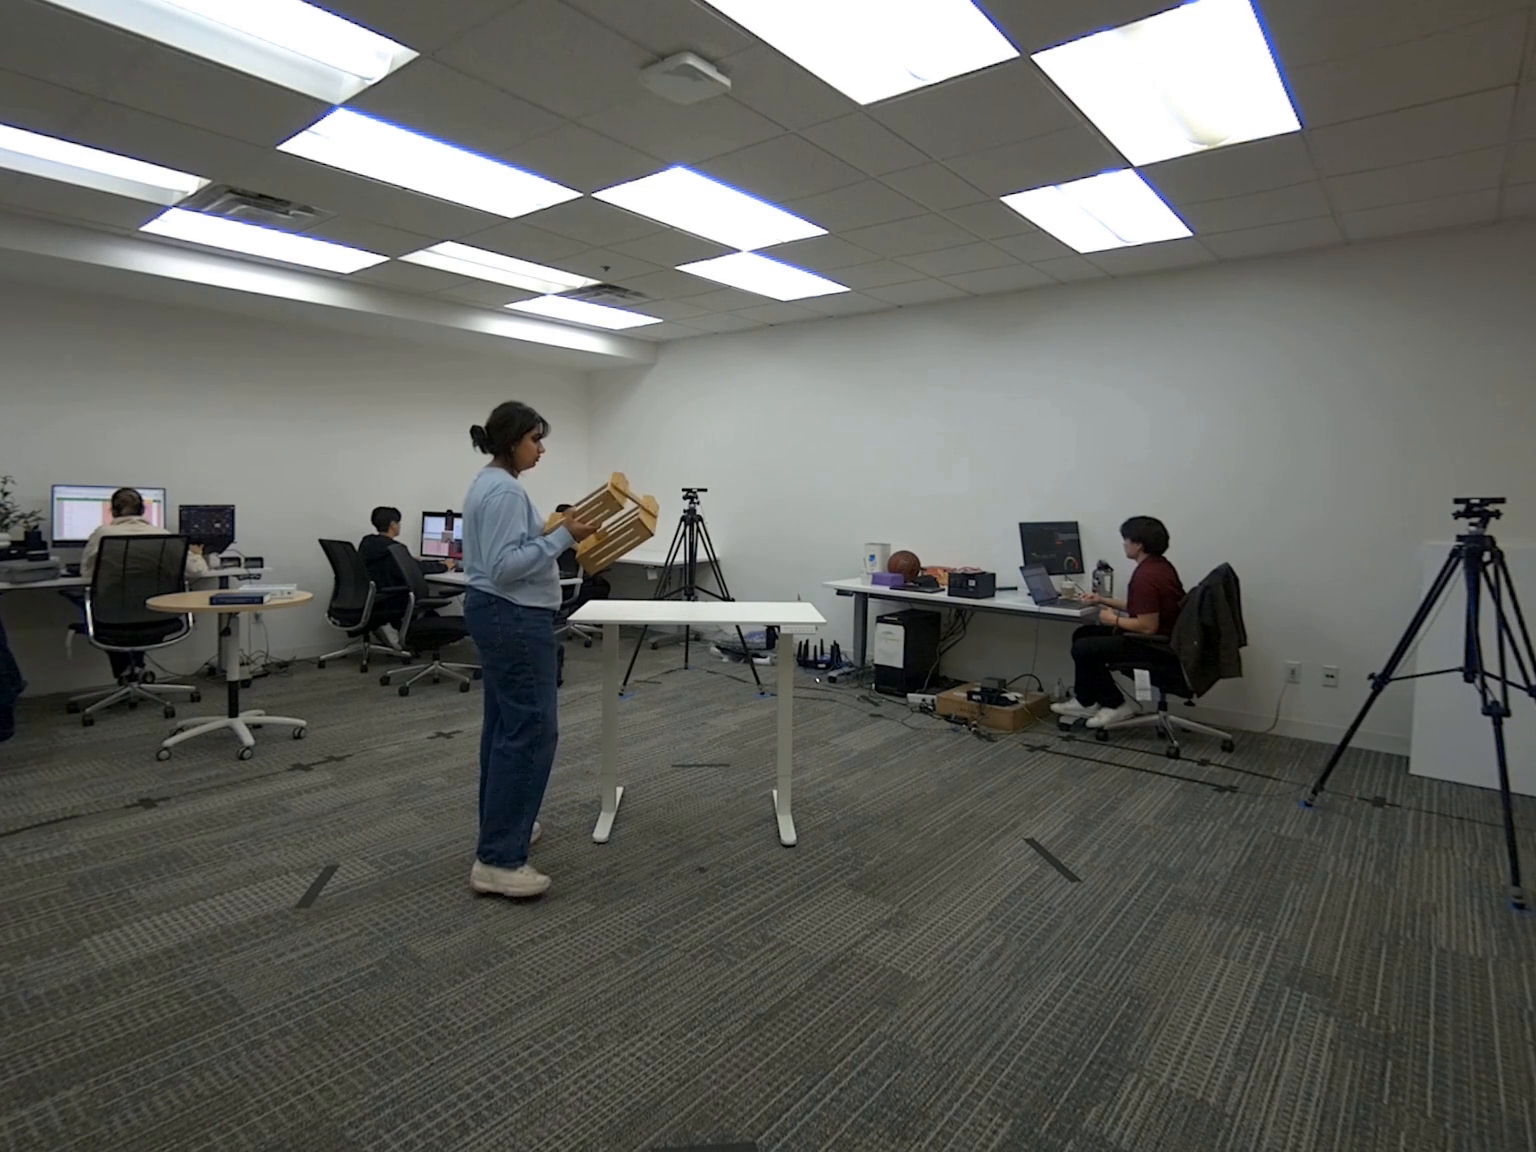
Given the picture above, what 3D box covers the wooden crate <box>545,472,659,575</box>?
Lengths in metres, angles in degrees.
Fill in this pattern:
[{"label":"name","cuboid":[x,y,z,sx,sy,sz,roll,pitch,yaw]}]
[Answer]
[{"label":"wooden crate","cuboid":[-0.628,-0.218,3.154,0.326,0.265,0.310,-31,27,16]}]
